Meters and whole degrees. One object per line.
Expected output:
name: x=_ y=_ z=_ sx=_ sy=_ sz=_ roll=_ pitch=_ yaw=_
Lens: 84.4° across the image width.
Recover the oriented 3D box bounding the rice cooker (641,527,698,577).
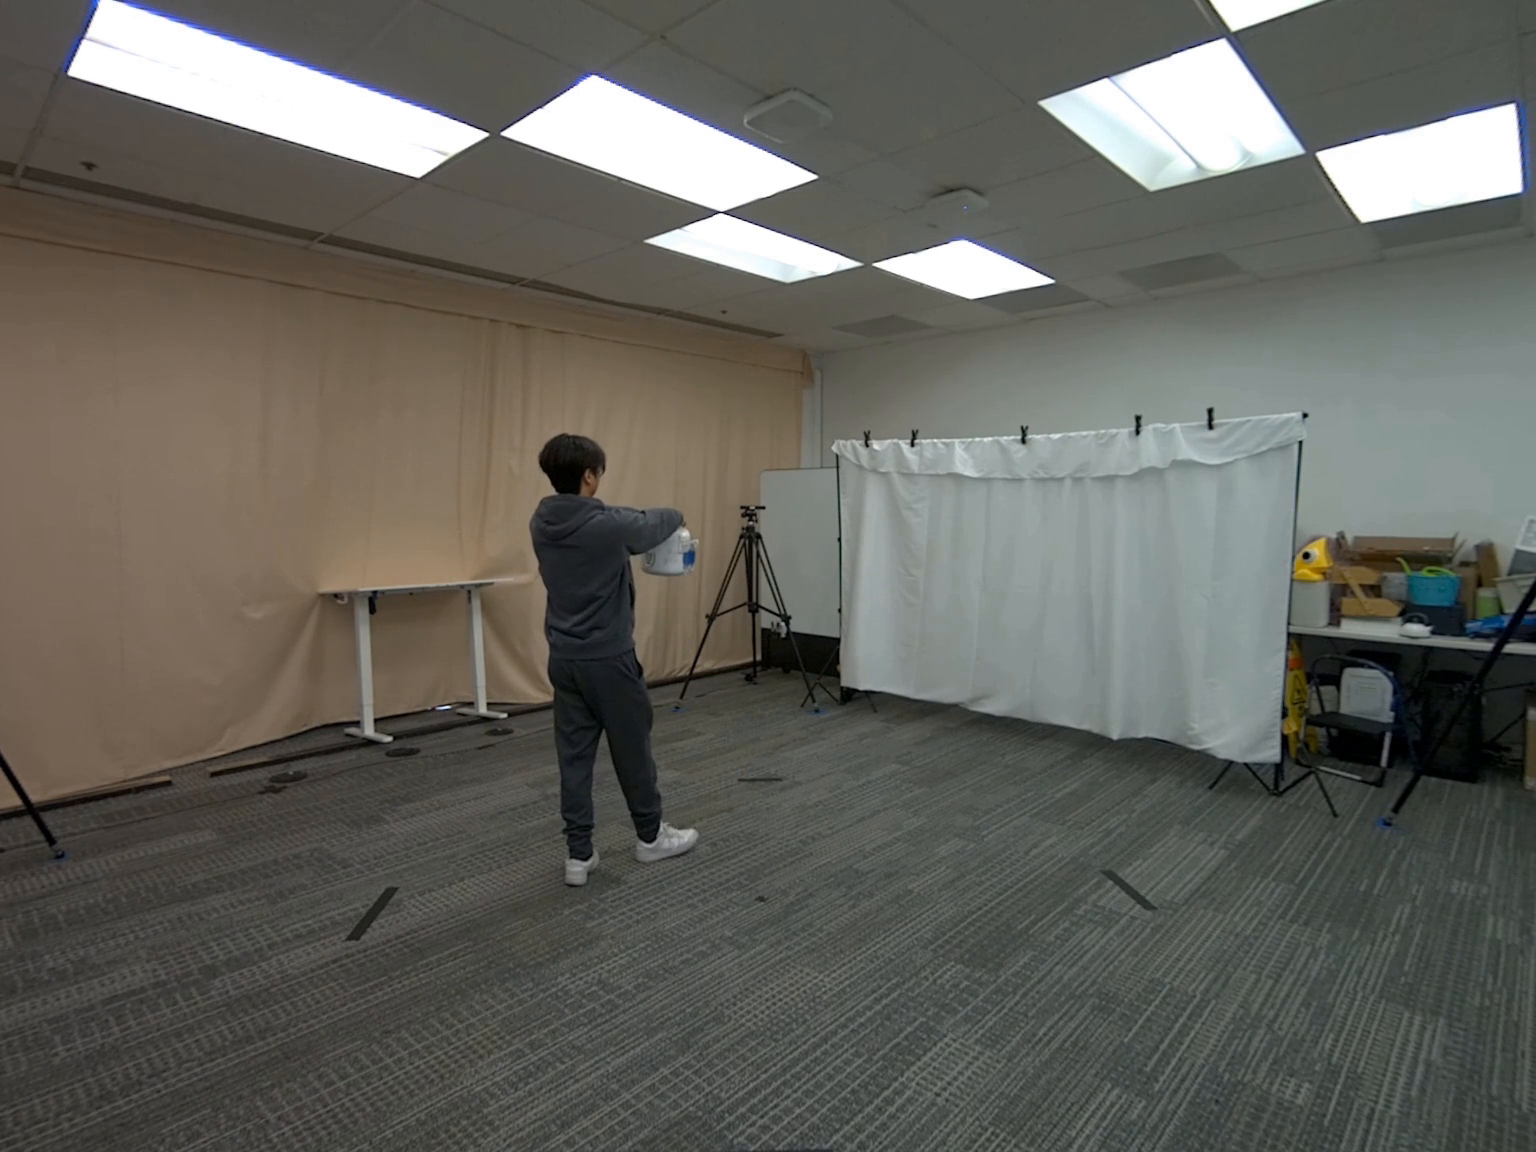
rice cooker: x=-0.436 y=-0.124 z=3.650 sx=0.228 sy=0.232 sz=0.211 roll=8 pitch=7 yaw=34
